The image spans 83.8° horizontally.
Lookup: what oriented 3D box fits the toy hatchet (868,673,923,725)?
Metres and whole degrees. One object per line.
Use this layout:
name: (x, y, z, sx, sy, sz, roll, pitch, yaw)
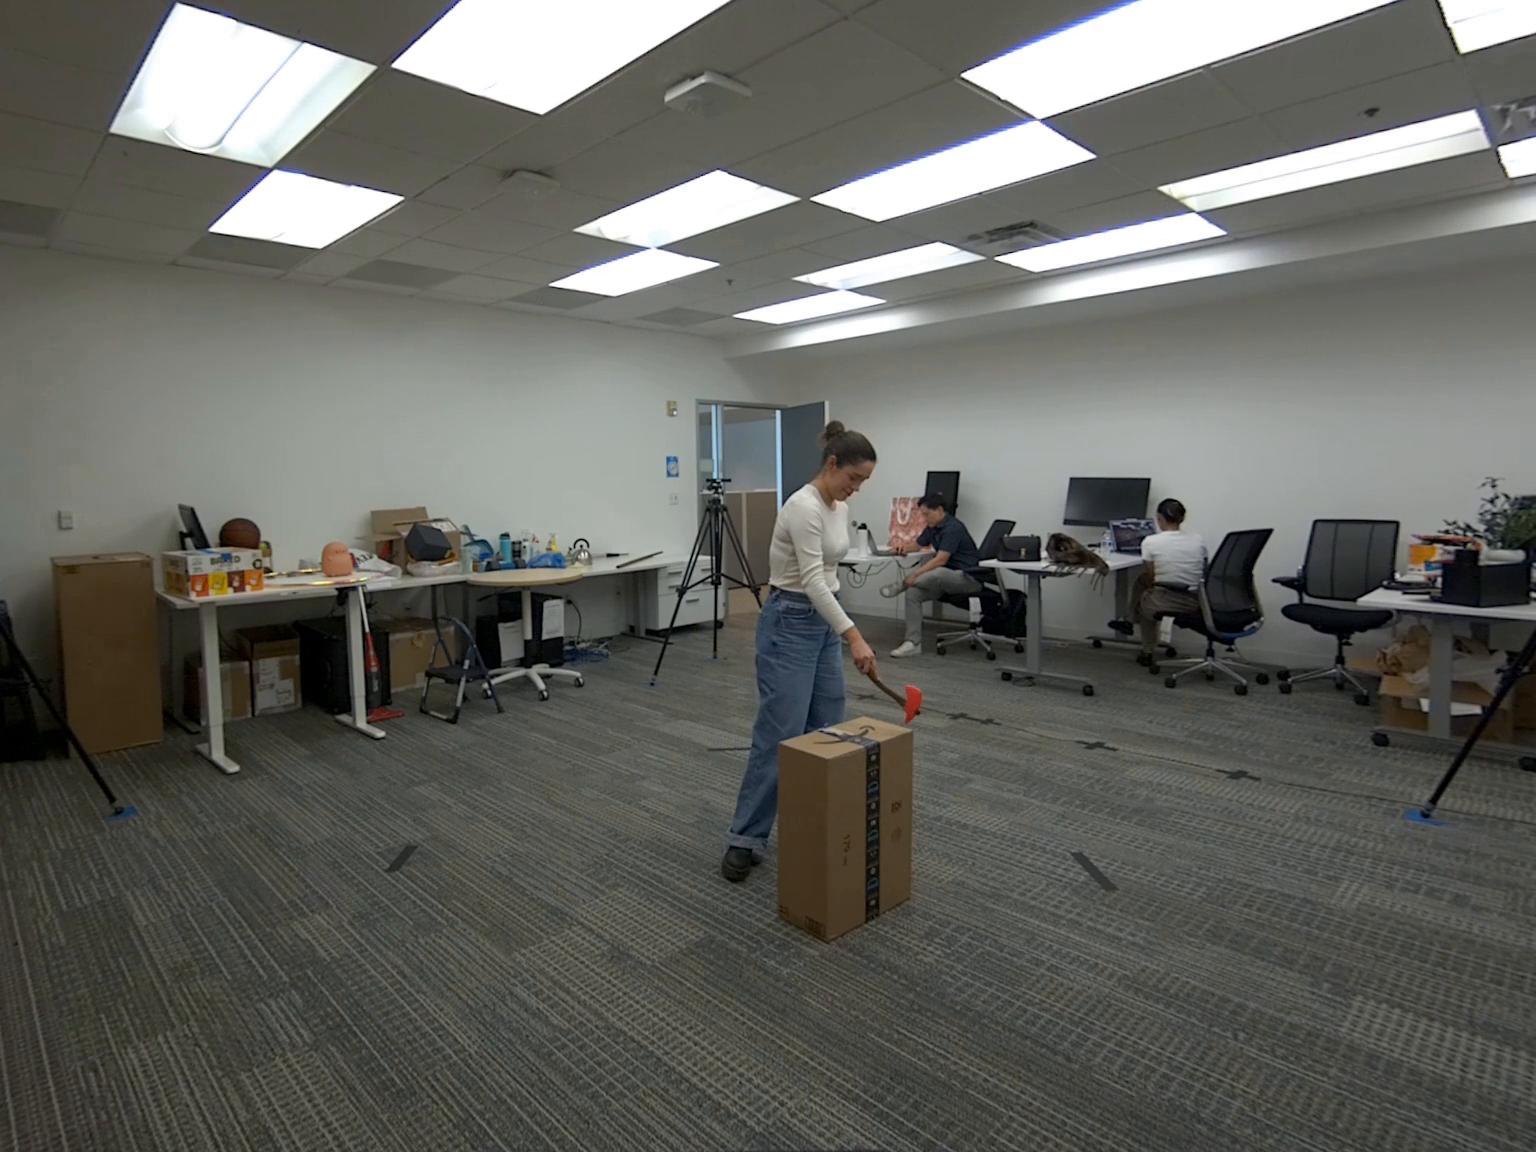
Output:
toy hatchet: (0.410, 0.352, 2.818, 0.029, 0.130, 0.278, -8, 52, -45)
